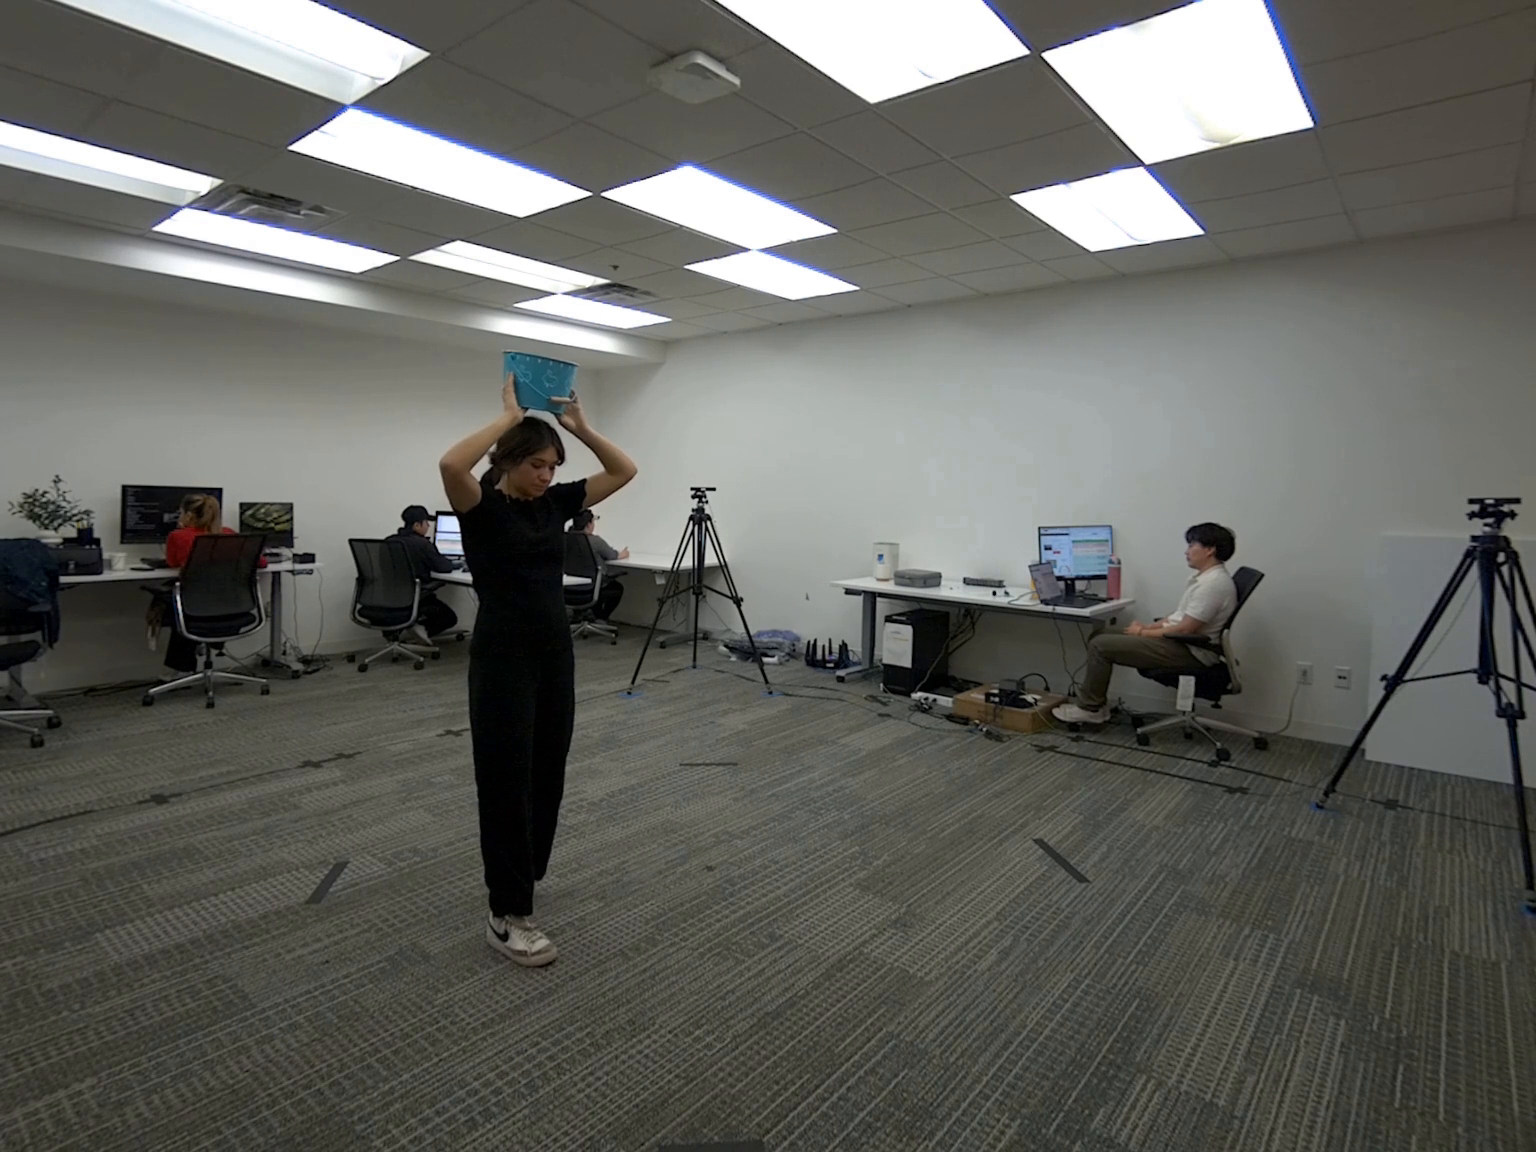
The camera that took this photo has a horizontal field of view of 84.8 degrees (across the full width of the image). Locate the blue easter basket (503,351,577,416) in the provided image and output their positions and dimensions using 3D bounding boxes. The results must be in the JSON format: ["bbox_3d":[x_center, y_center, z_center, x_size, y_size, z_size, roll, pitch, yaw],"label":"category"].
[{"bbox_3d":[-0.709,-0.573,2.533,0.243,0.155,0.245,9,5,-3],"label":"blue easter basket"}]
